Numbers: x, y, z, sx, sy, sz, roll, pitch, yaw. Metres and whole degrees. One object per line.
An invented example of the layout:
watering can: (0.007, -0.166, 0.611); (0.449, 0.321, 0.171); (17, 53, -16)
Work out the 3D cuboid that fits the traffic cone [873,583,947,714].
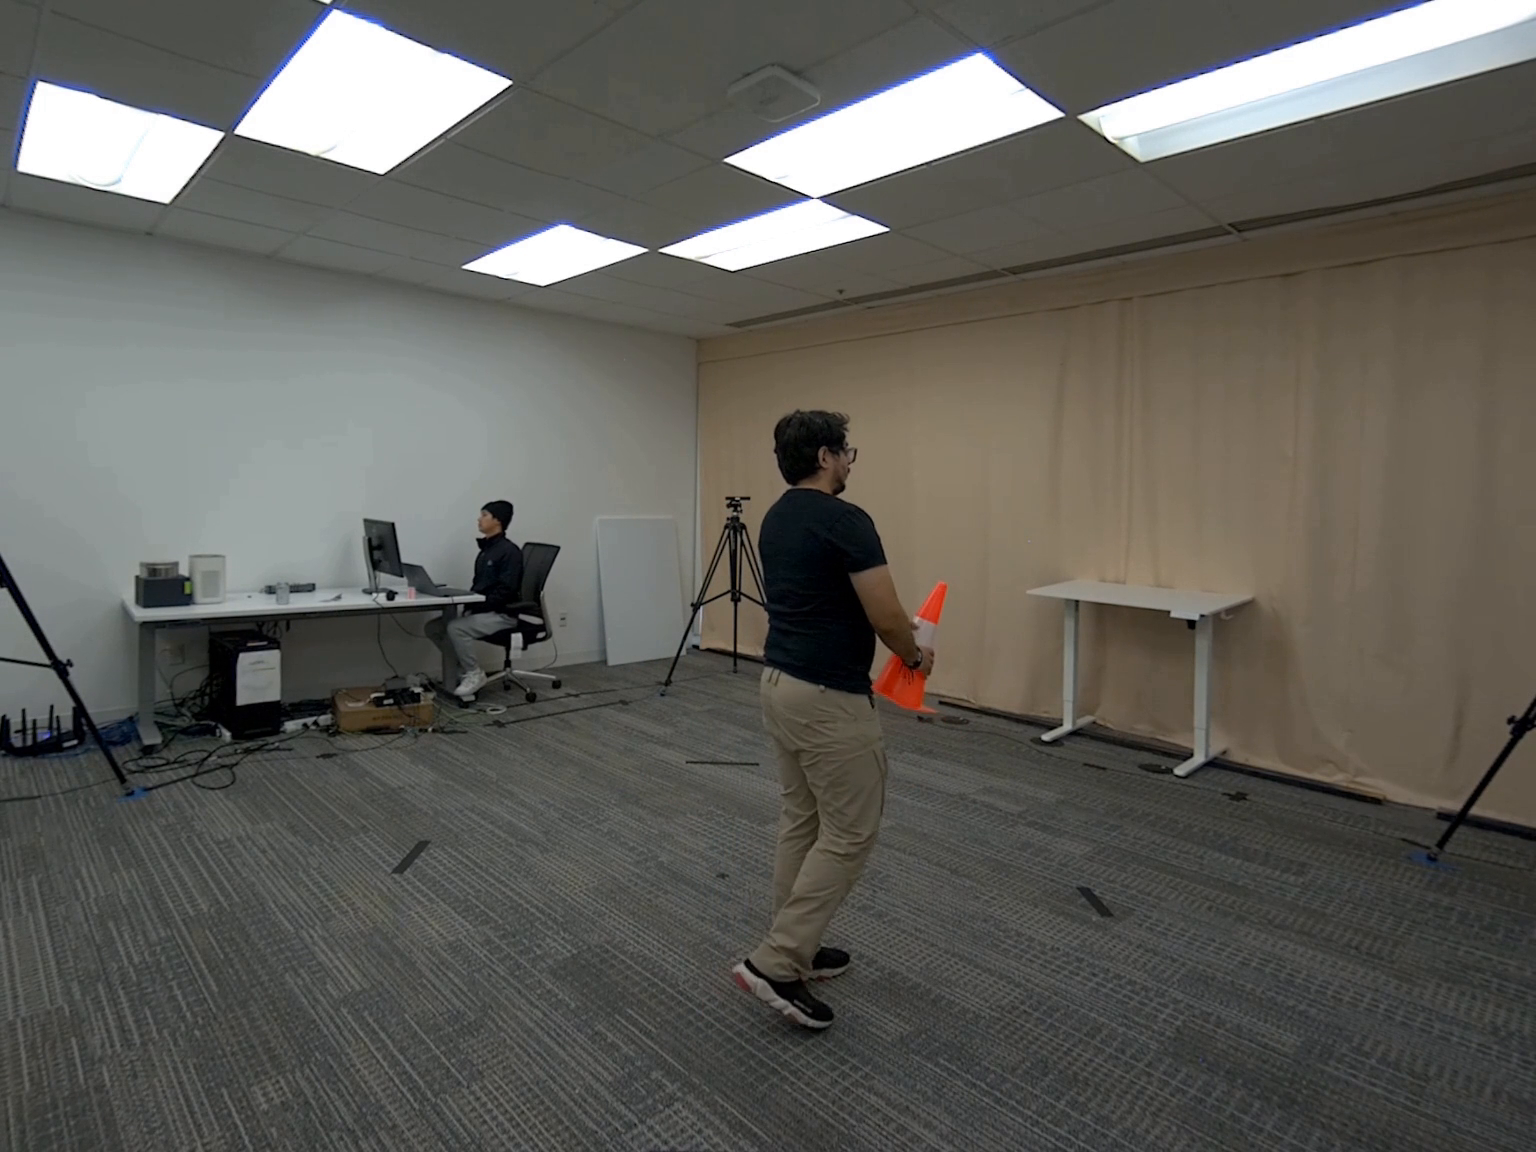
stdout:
traffic cone: (0.461, 0.209, 2.575); (0.209, 0.383, 0.199); (22, 2, 37)
